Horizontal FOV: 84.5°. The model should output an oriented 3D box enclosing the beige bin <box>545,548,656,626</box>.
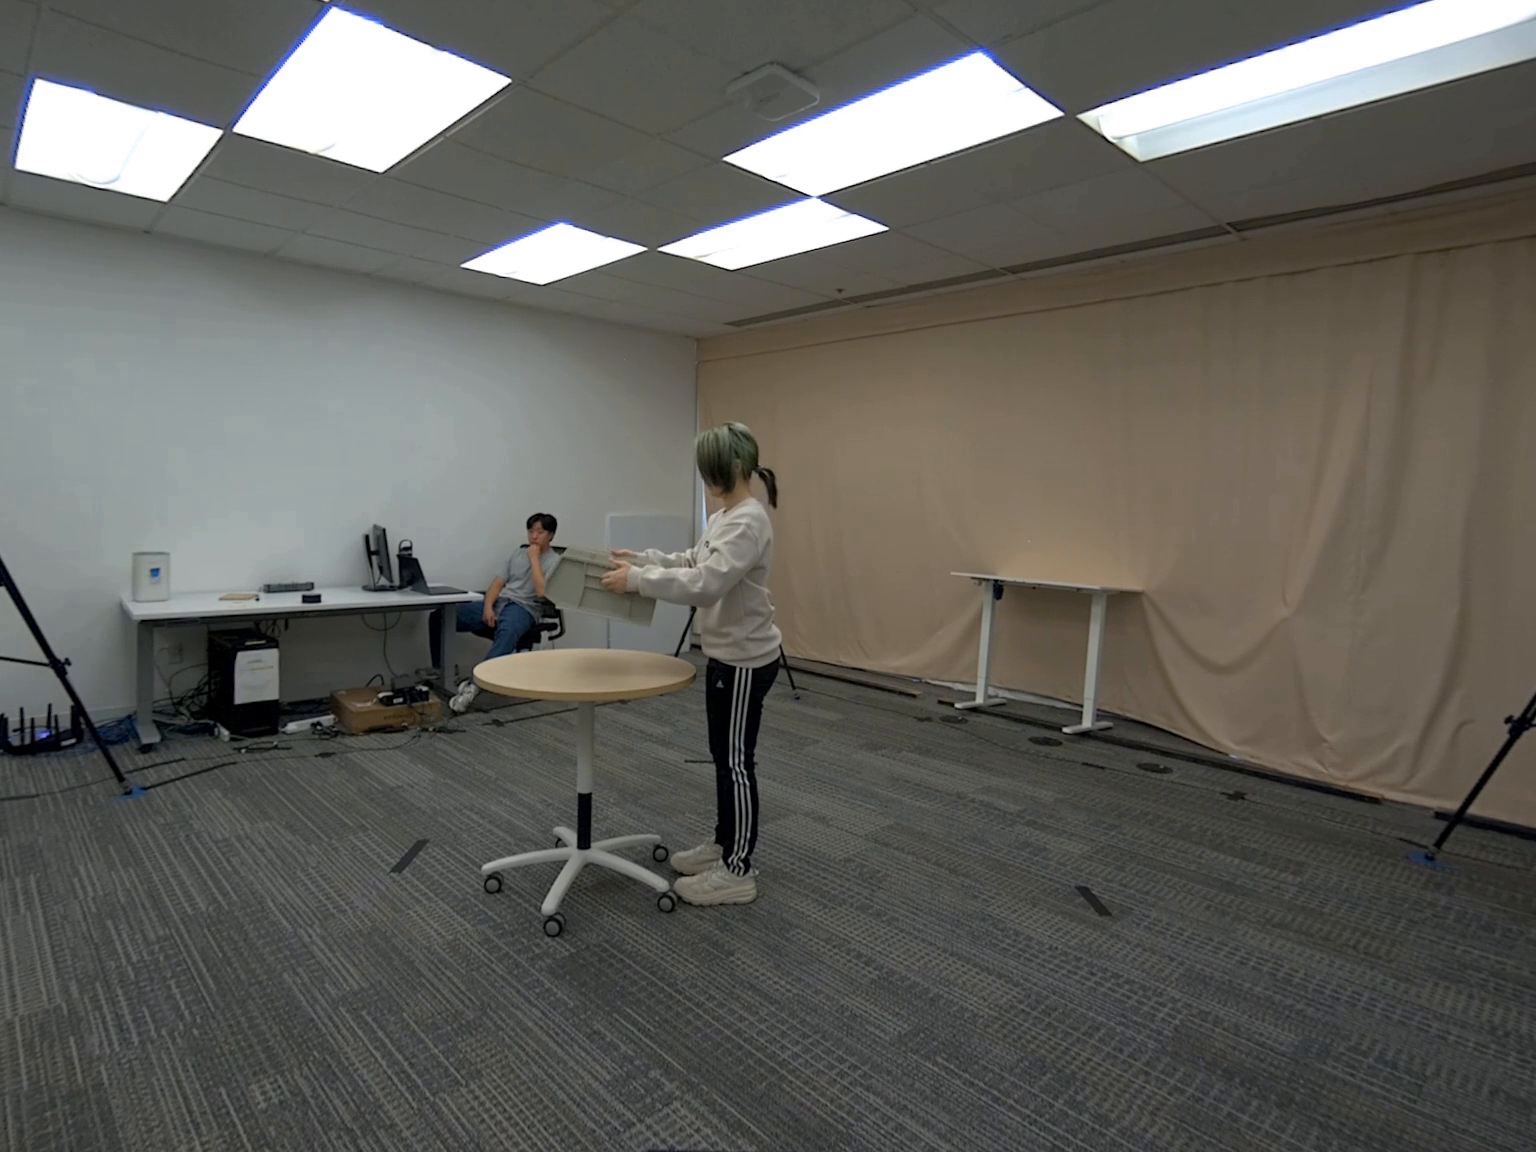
[{"bbox_3d":[-0.573,0.029,2.940,0.374,0.188,0.427,12,5,-9],"label":"beige bin"}]
